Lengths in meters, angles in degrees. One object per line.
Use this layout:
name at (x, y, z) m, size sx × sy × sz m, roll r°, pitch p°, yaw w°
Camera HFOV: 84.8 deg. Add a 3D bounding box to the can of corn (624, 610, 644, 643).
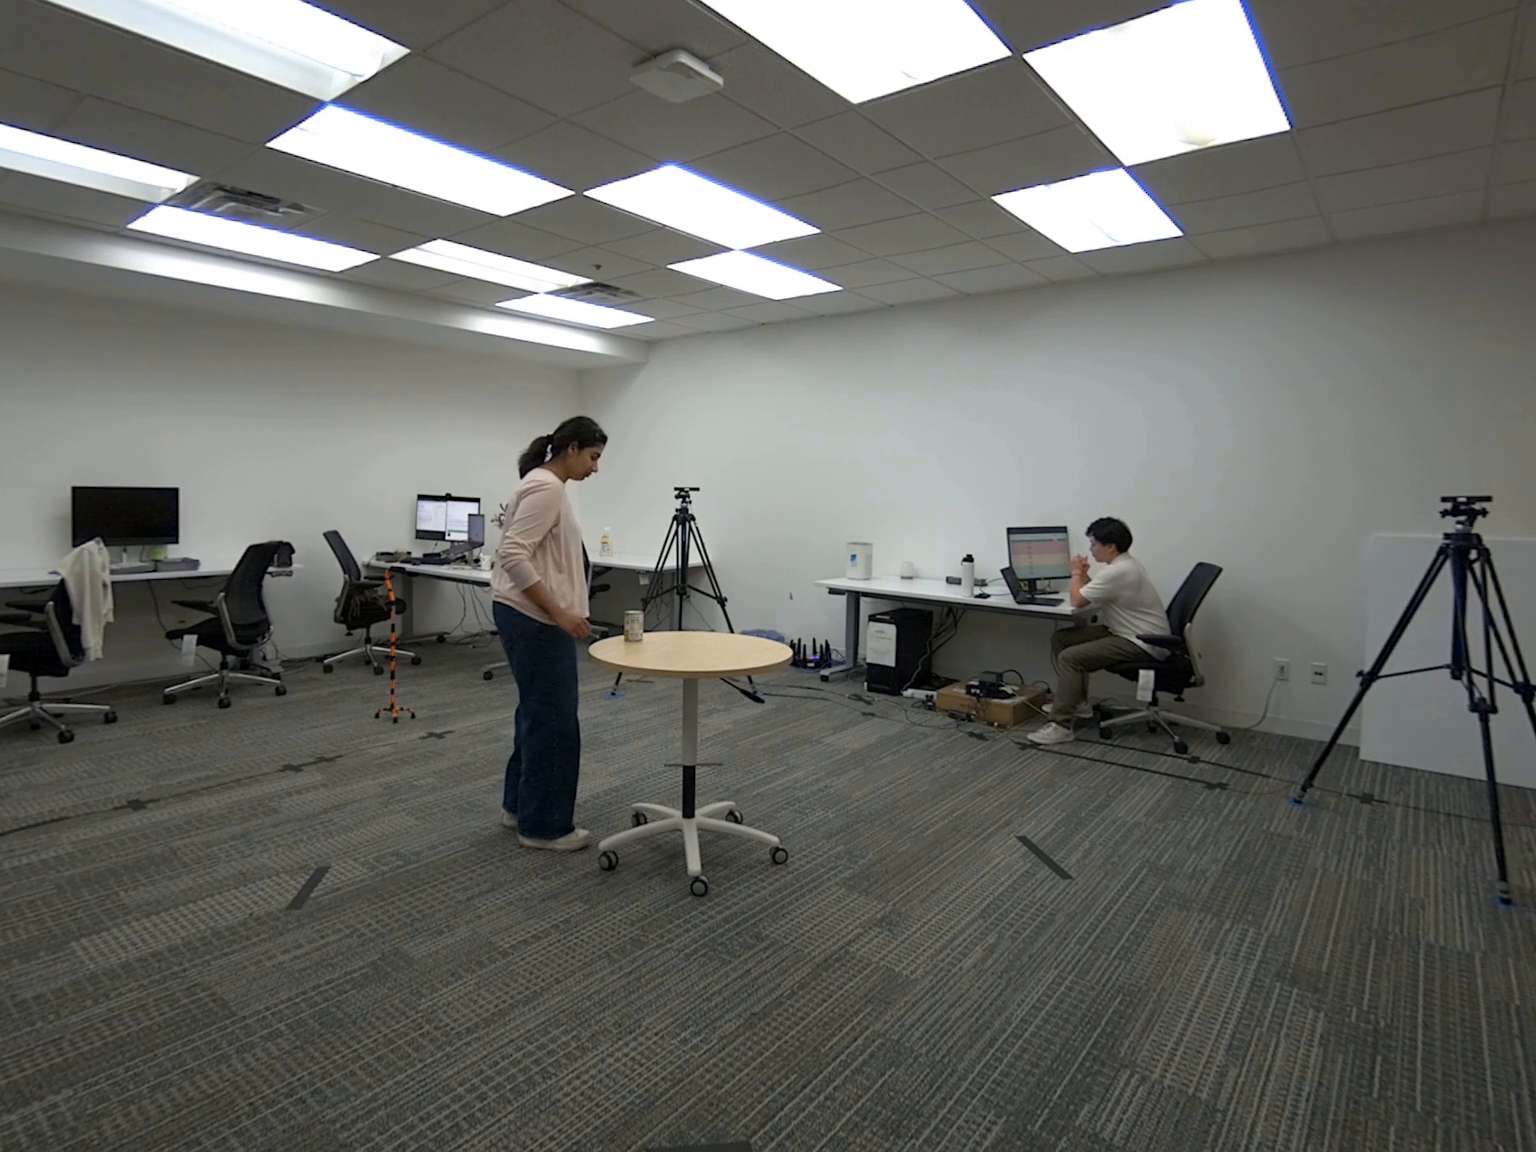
can of corn at (-0.546, 0.196, 3.351) m, size 0.074 × 0.110 × 0.075 m, roll 0°, pitch 5°, yaw -2°
